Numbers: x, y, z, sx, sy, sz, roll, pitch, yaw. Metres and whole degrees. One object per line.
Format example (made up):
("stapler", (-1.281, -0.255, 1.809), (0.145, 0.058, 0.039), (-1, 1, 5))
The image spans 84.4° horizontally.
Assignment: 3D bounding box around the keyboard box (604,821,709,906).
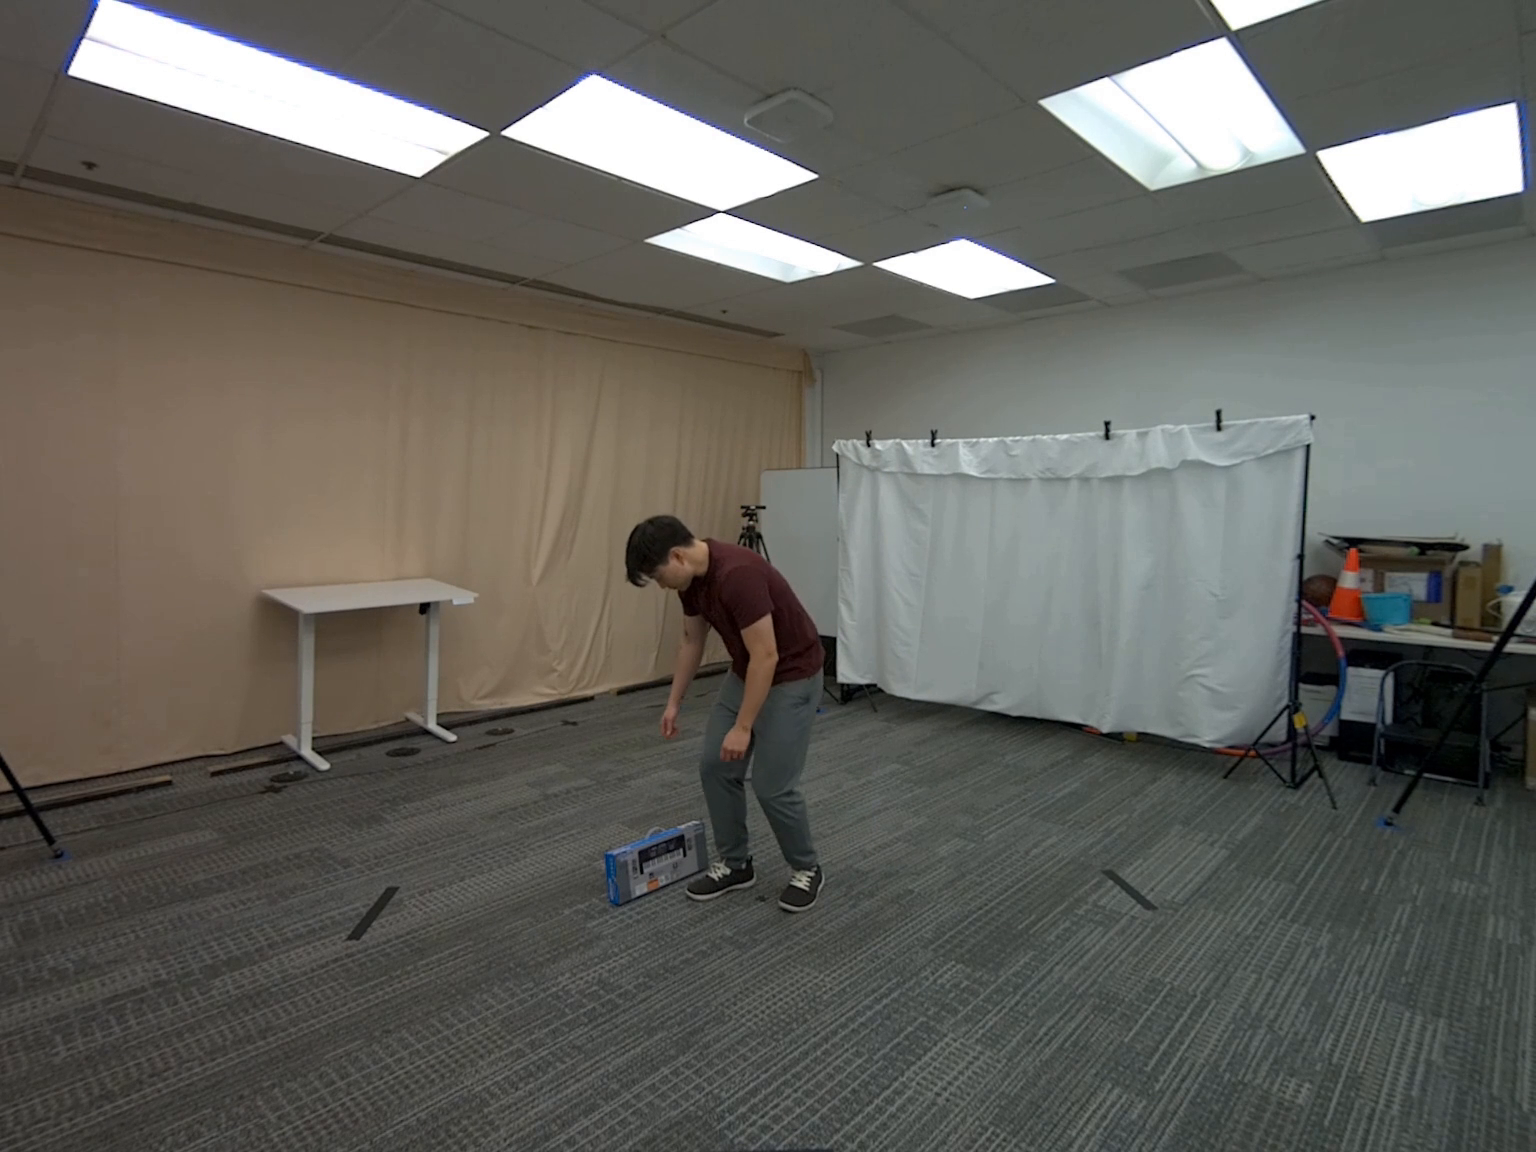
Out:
("keyboard box", (-0.401, 1.051, 3.102), (0.061, 0.176, 0.423), (-10, -4, 44))
